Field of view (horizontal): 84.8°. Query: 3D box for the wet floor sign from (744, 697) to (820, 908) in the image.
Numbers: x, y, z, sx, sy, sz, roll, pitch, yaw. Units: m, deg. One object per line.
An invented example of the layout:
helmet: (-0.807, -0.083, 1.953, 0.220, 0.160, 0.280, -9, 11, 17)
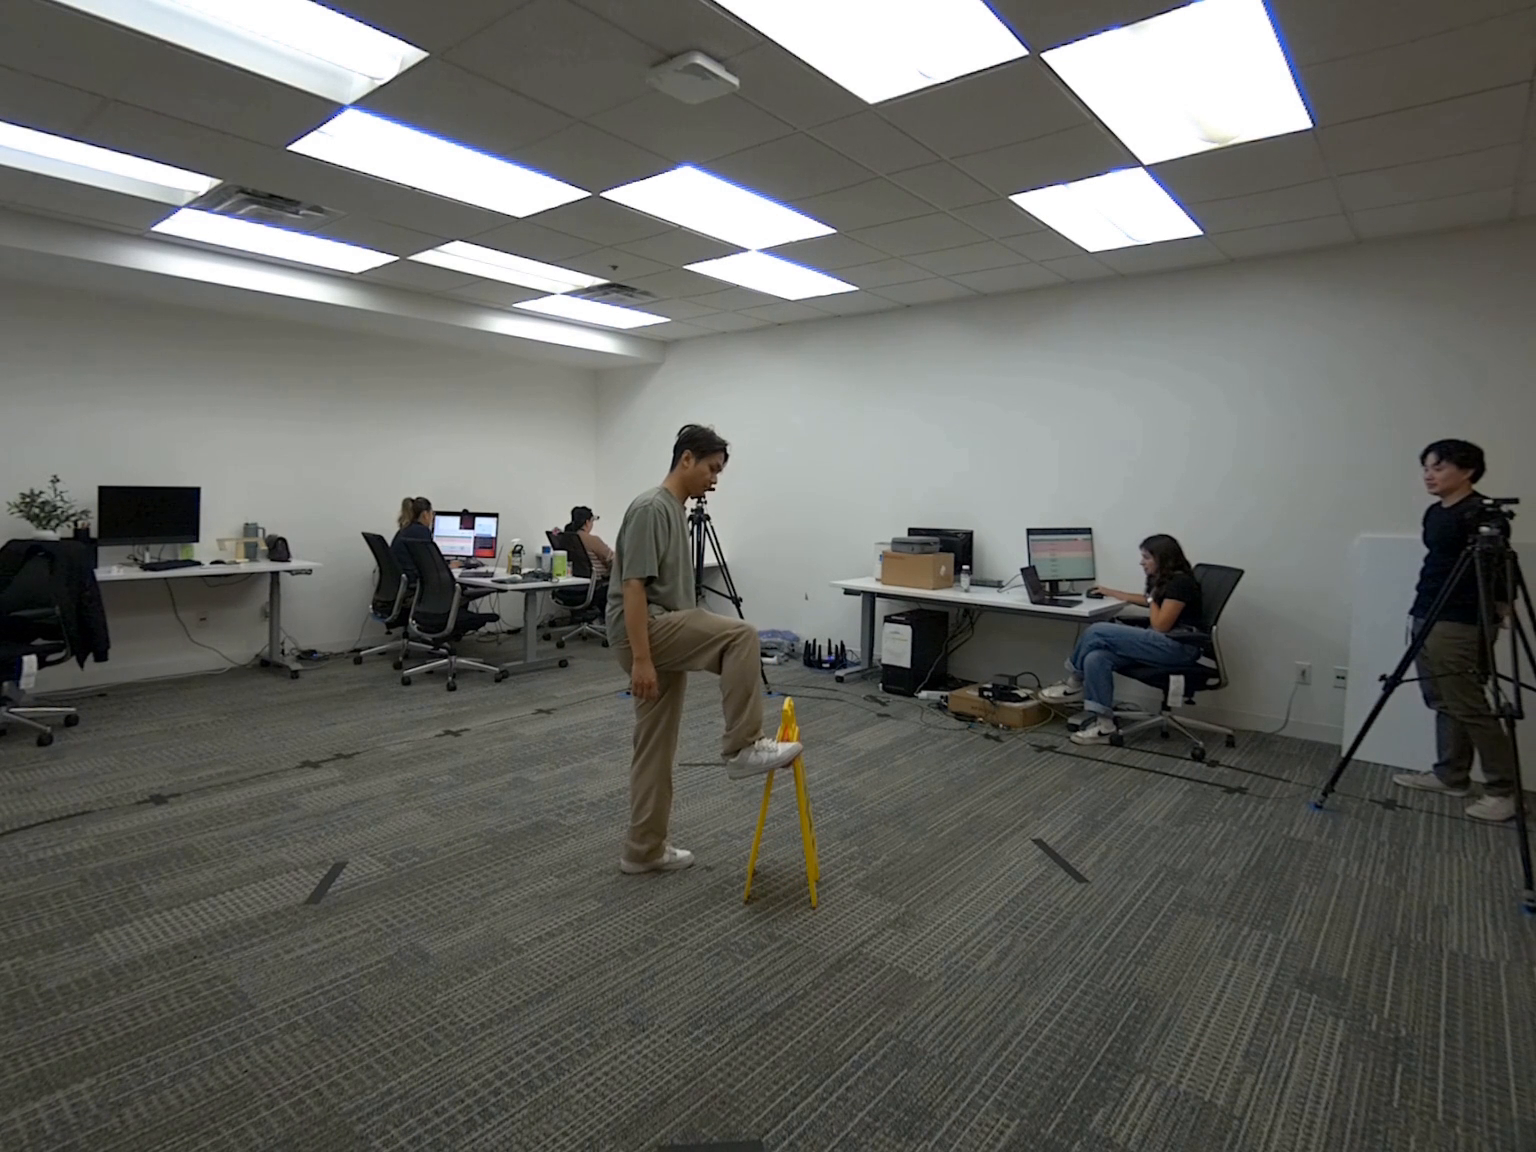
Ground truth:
wet floor sign: (0.057, 0.760, 2.970, 0.292, 0.645, 0.281, 3, 2, 5)
